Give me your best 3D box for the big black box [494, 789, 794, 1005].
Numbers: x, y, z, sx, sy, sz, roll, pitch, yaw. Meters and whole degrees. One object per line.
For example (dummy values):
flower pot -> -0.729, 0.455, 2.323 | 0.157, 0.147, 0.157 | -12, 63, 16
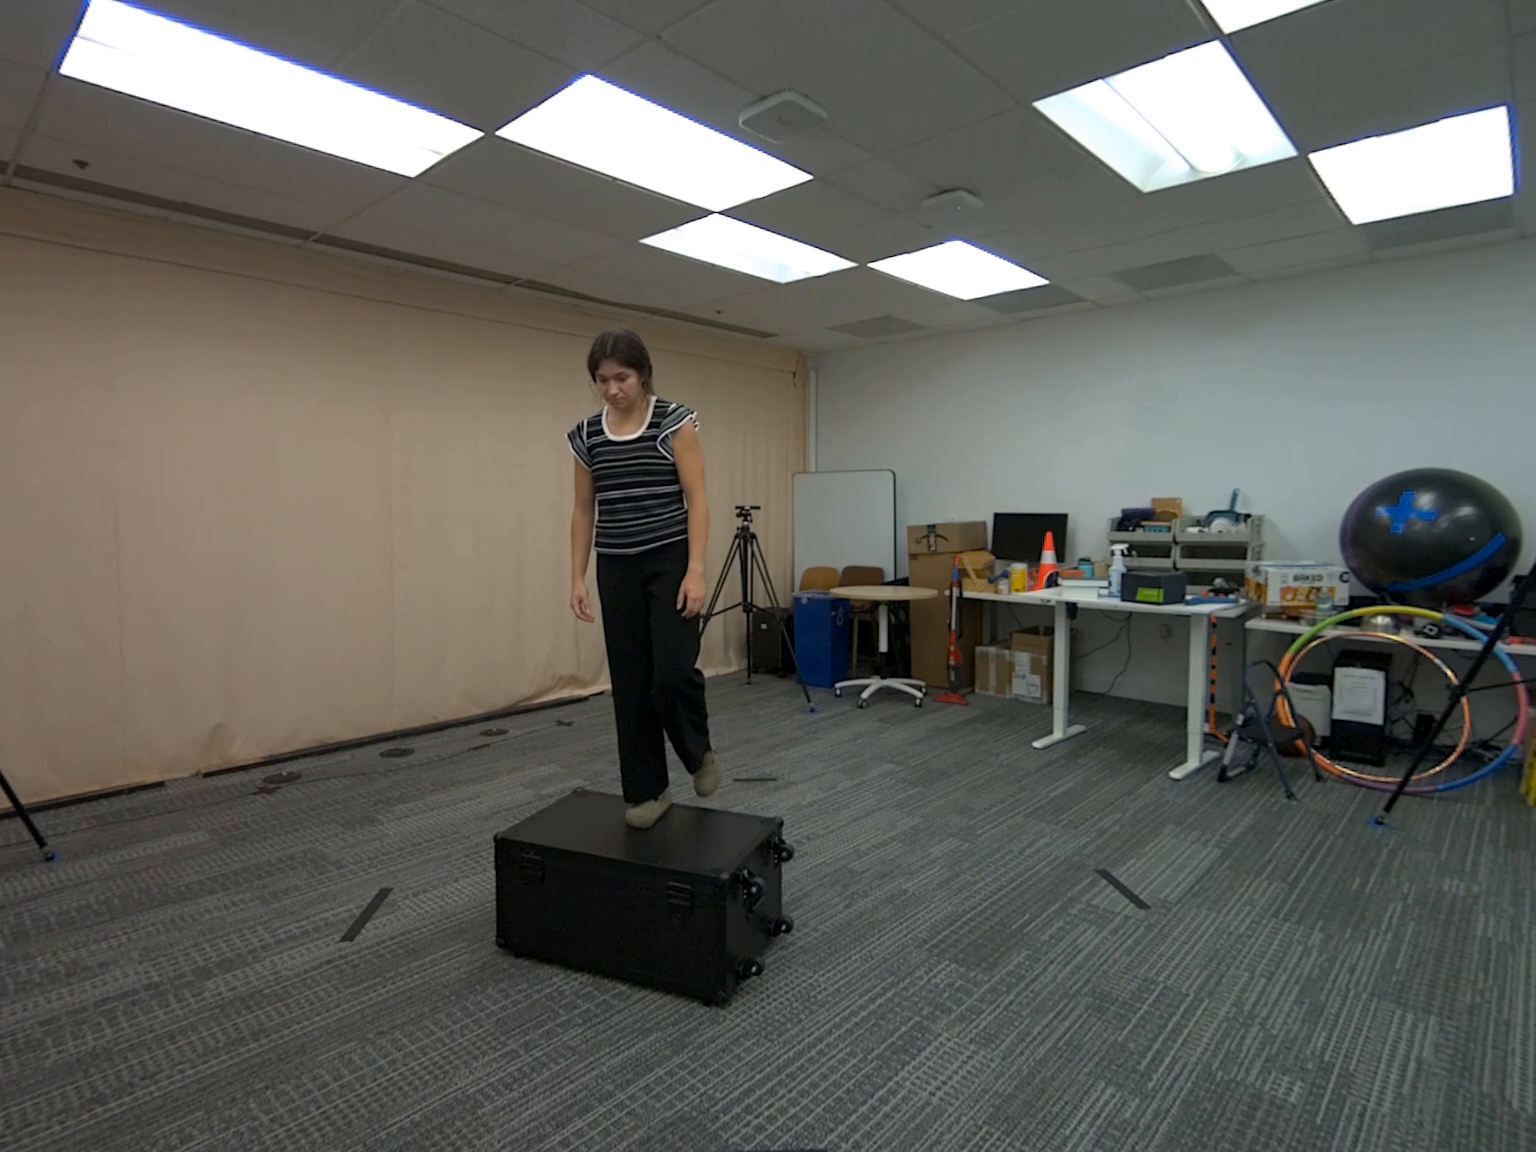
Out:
big black box -> -0.368, 0.982, 2.663 | 0.881, 0.395, 0.510 | 1, 3, 22
